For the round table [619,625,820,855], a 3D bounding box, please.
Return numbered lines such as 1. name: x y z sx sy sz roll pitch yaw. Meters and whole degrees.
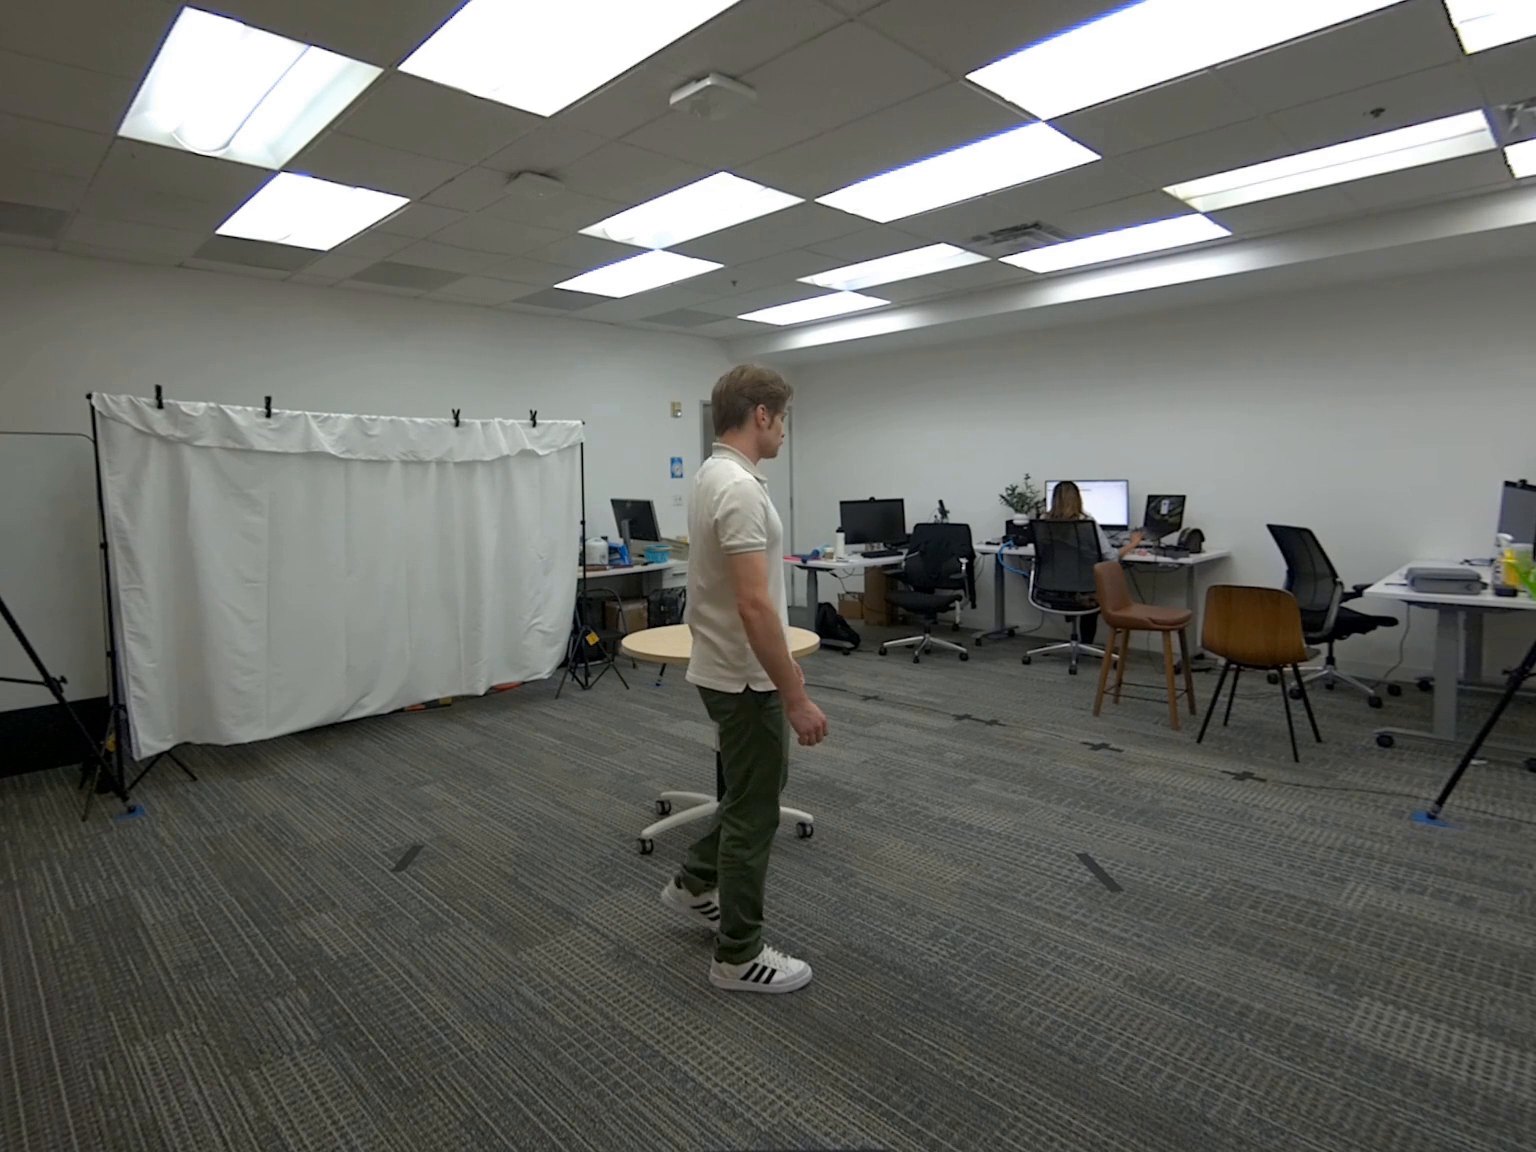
1. round table: -0.177 0.635 3.342 0.763 0.791 0.767 -1 4 -2
